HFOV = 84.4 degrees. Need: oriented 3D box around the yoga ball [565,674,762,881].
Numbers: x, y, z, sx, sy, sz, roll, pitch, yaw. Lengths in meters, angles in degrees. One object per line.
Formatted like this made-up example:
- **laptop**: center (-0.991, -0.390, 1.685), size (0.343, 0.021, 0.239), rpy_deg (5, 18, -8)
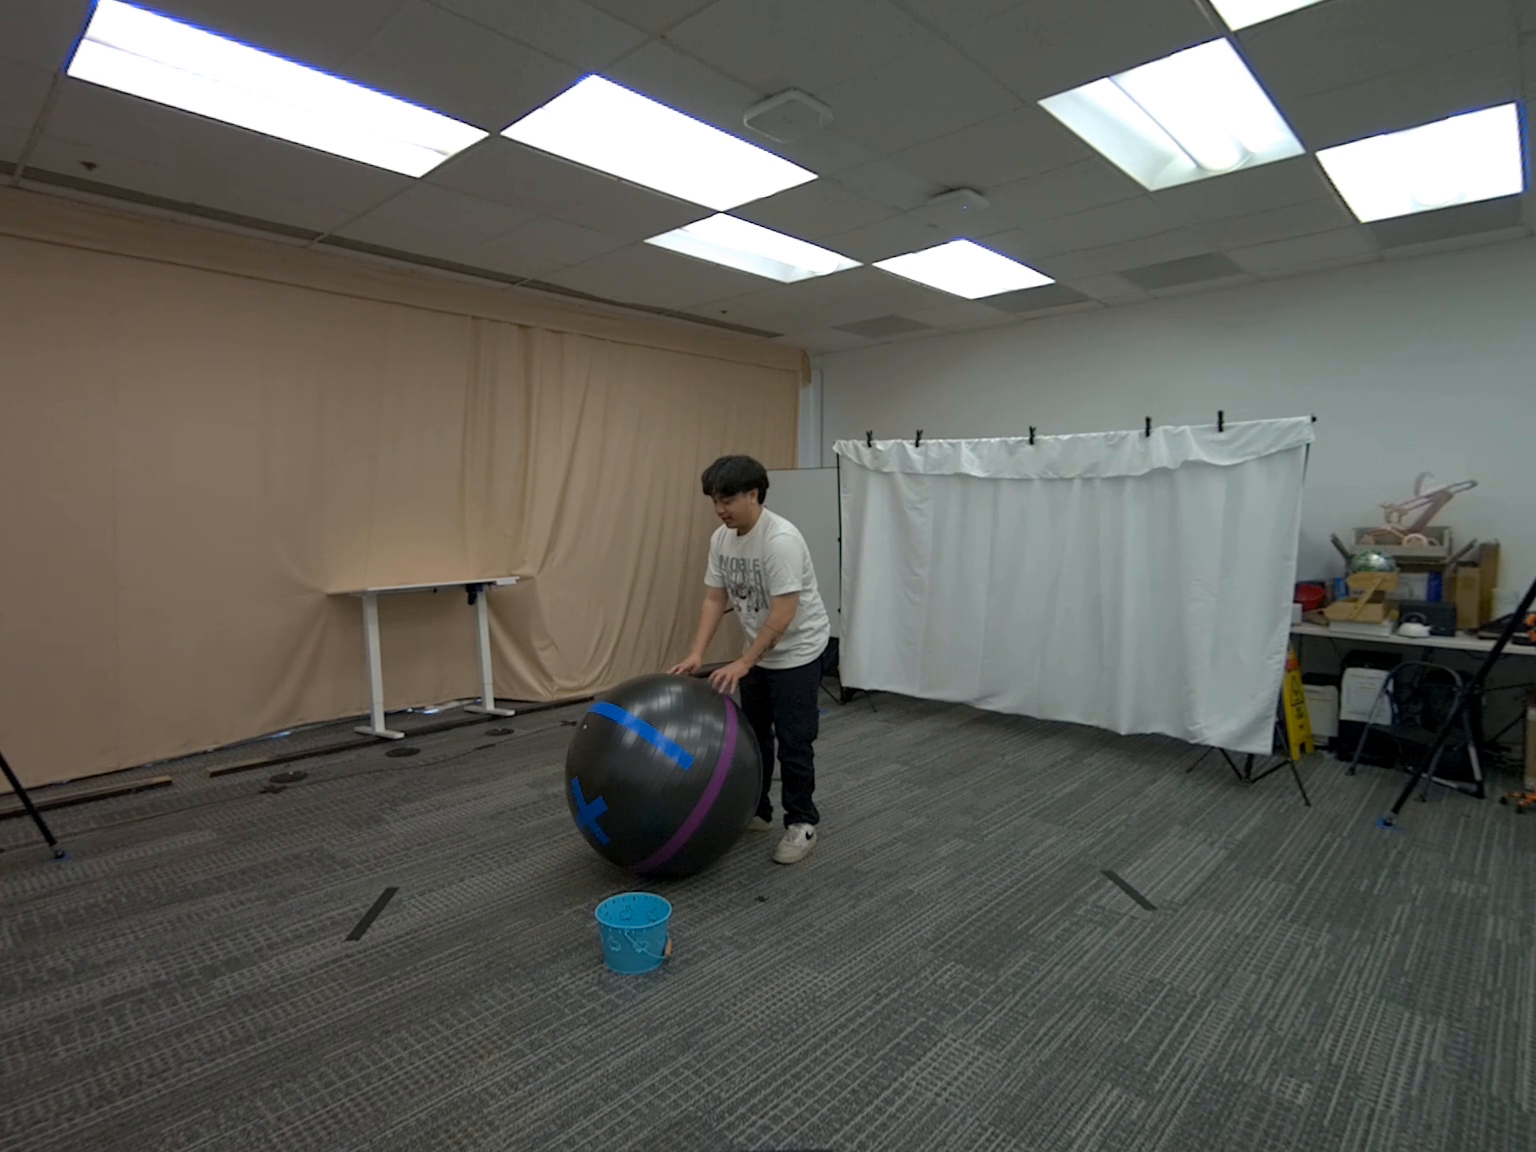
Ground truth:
- **yoga ball**: center (-0.405, 0.762, 3.255), size (0.757, 0.756, 0.760), rpy_deg (0, 4, -2)
